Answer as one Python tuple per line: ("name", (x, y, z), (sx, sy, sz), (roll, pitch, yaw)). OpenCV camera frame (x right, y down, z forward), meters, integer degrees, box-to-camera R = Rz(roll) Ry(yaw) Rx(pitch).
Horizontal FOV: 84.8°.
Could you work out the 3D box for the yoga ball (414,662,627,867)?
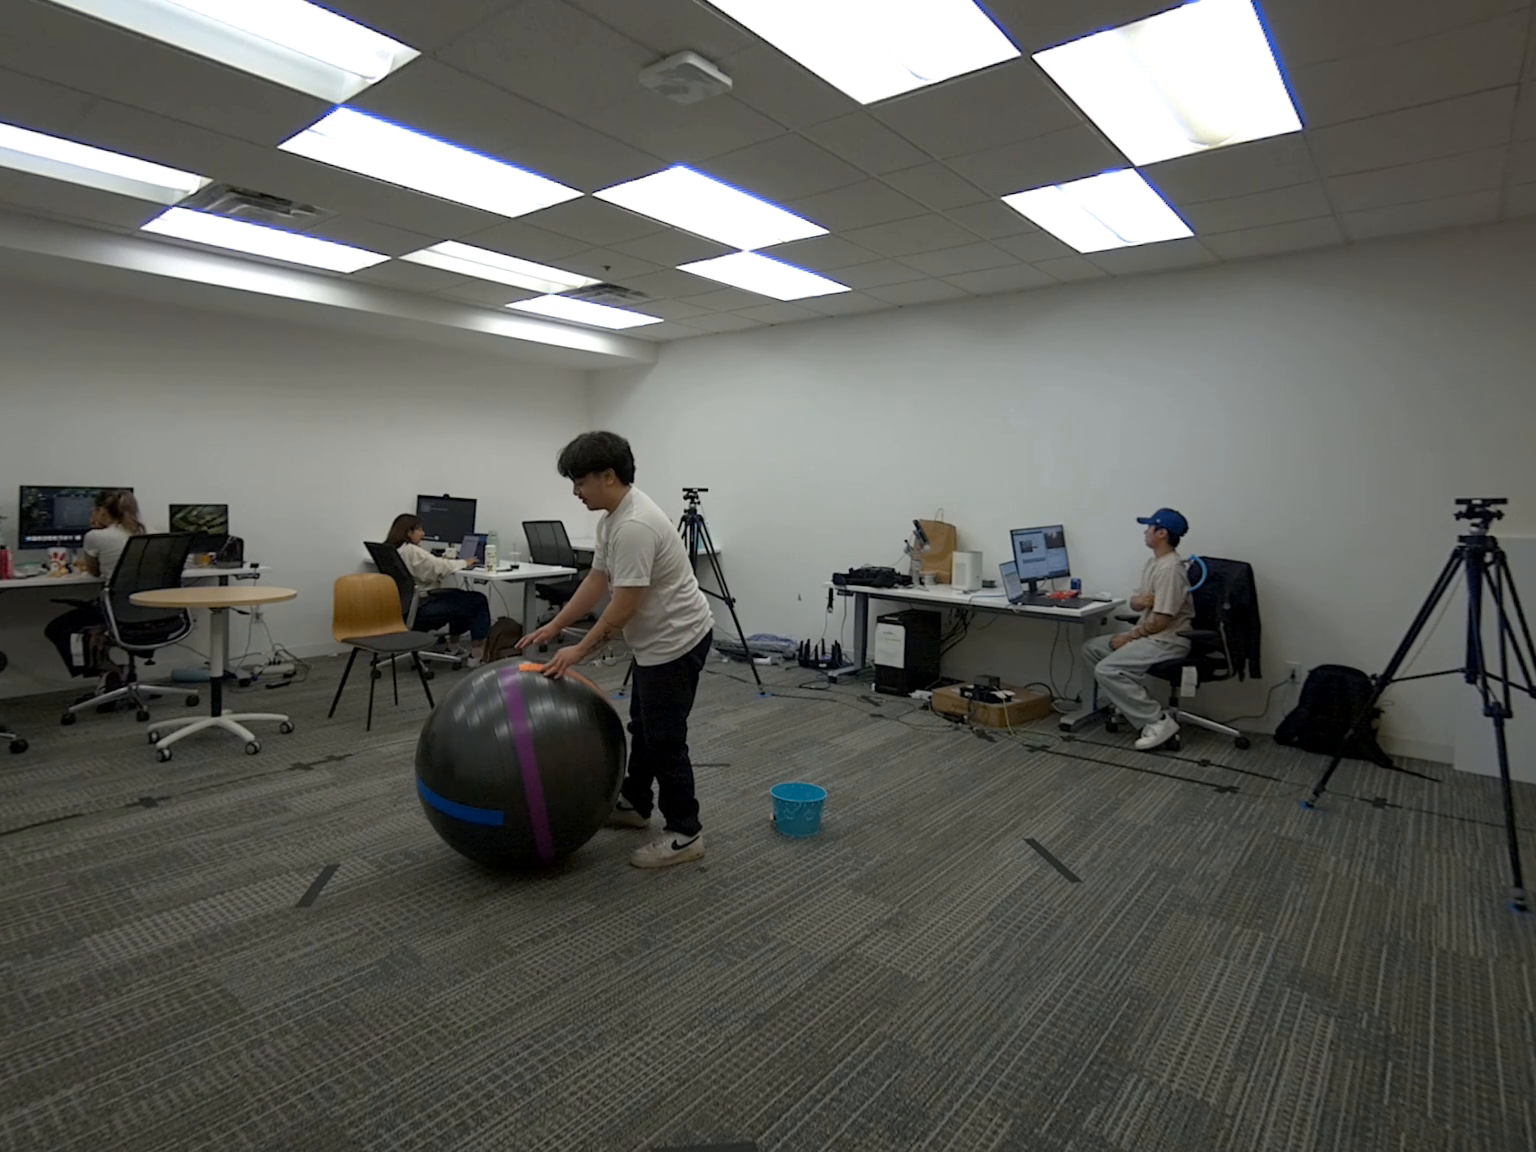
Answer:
("yoga ball", (-0.931, 0.683, 3.159), (0.757, 0.755, 0.762), (1, 4, -2))
